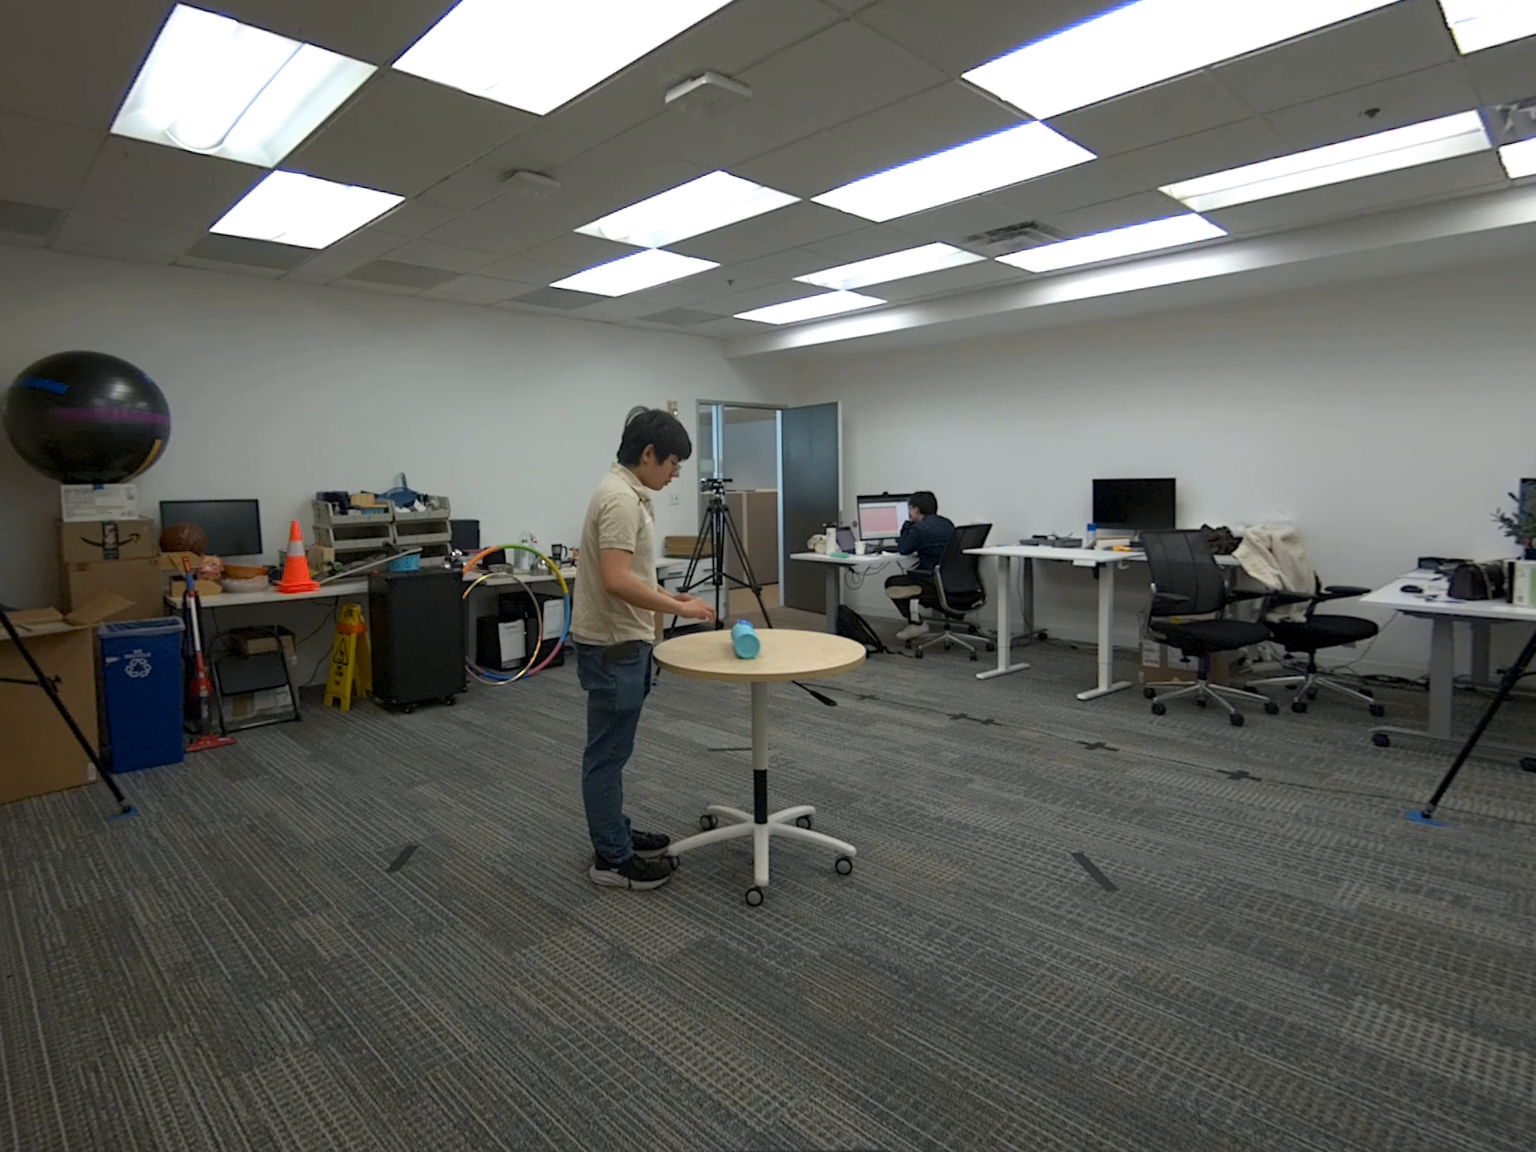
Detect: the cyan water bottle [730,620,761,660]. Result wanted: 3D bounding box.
[{"bbox_3d":[-0.085,0.220,3.048,0.092,0.092,0.286,-1,7,-6],"label":"cyan water bottle"}]
